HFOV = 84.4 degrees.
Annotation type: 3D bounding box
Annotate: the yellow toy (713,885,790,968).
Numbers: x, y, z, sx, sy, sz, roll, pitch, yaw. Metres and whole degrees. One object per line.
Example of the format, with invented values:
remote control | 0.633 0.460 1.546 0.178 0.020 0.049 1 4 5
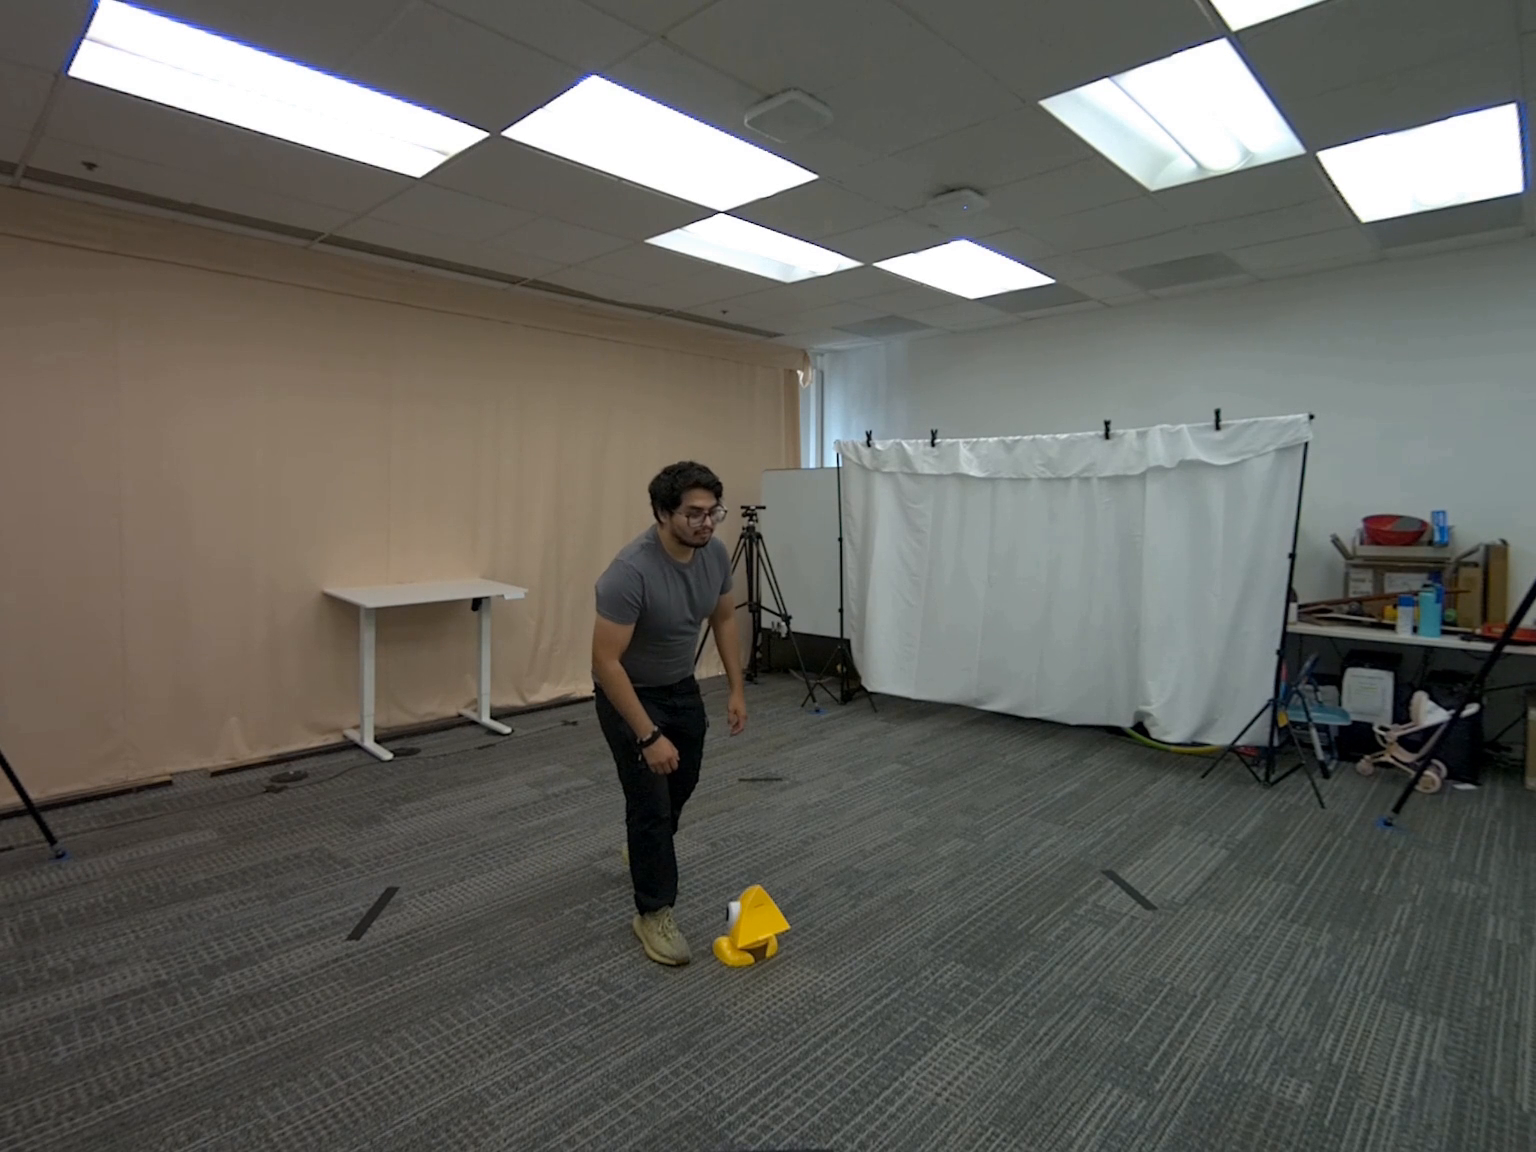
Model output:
yellow toy | -0.061 1.063 2.625 0.199 0.230 0.199 -2 3 -36
